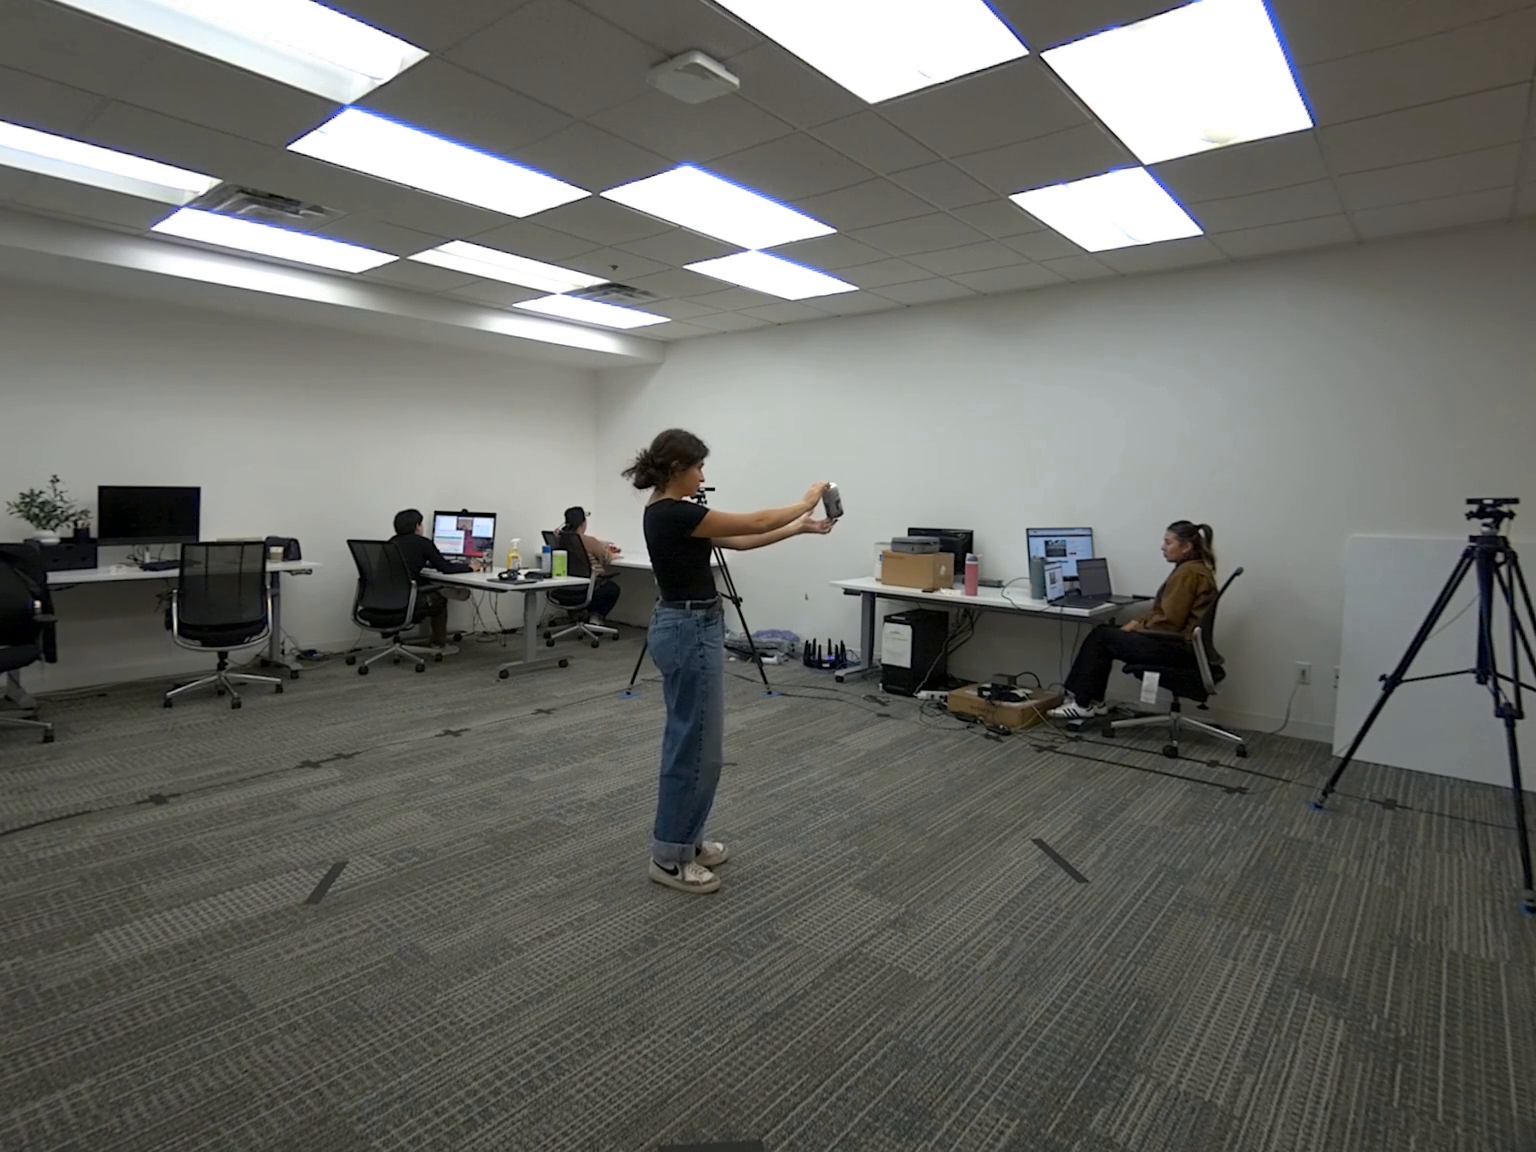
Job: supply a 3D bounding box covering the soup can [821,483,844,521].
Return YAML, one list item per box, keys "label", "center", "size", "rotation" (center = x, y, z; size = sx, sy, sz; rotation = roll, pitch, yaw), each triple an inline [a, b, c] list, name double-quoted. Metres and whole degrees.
- label: "soup can"
  center: [0.226, -0.282, 3.172]
  size: [0.067, 0.119, 0.068]
  rotation: [-11, 20, 2]
